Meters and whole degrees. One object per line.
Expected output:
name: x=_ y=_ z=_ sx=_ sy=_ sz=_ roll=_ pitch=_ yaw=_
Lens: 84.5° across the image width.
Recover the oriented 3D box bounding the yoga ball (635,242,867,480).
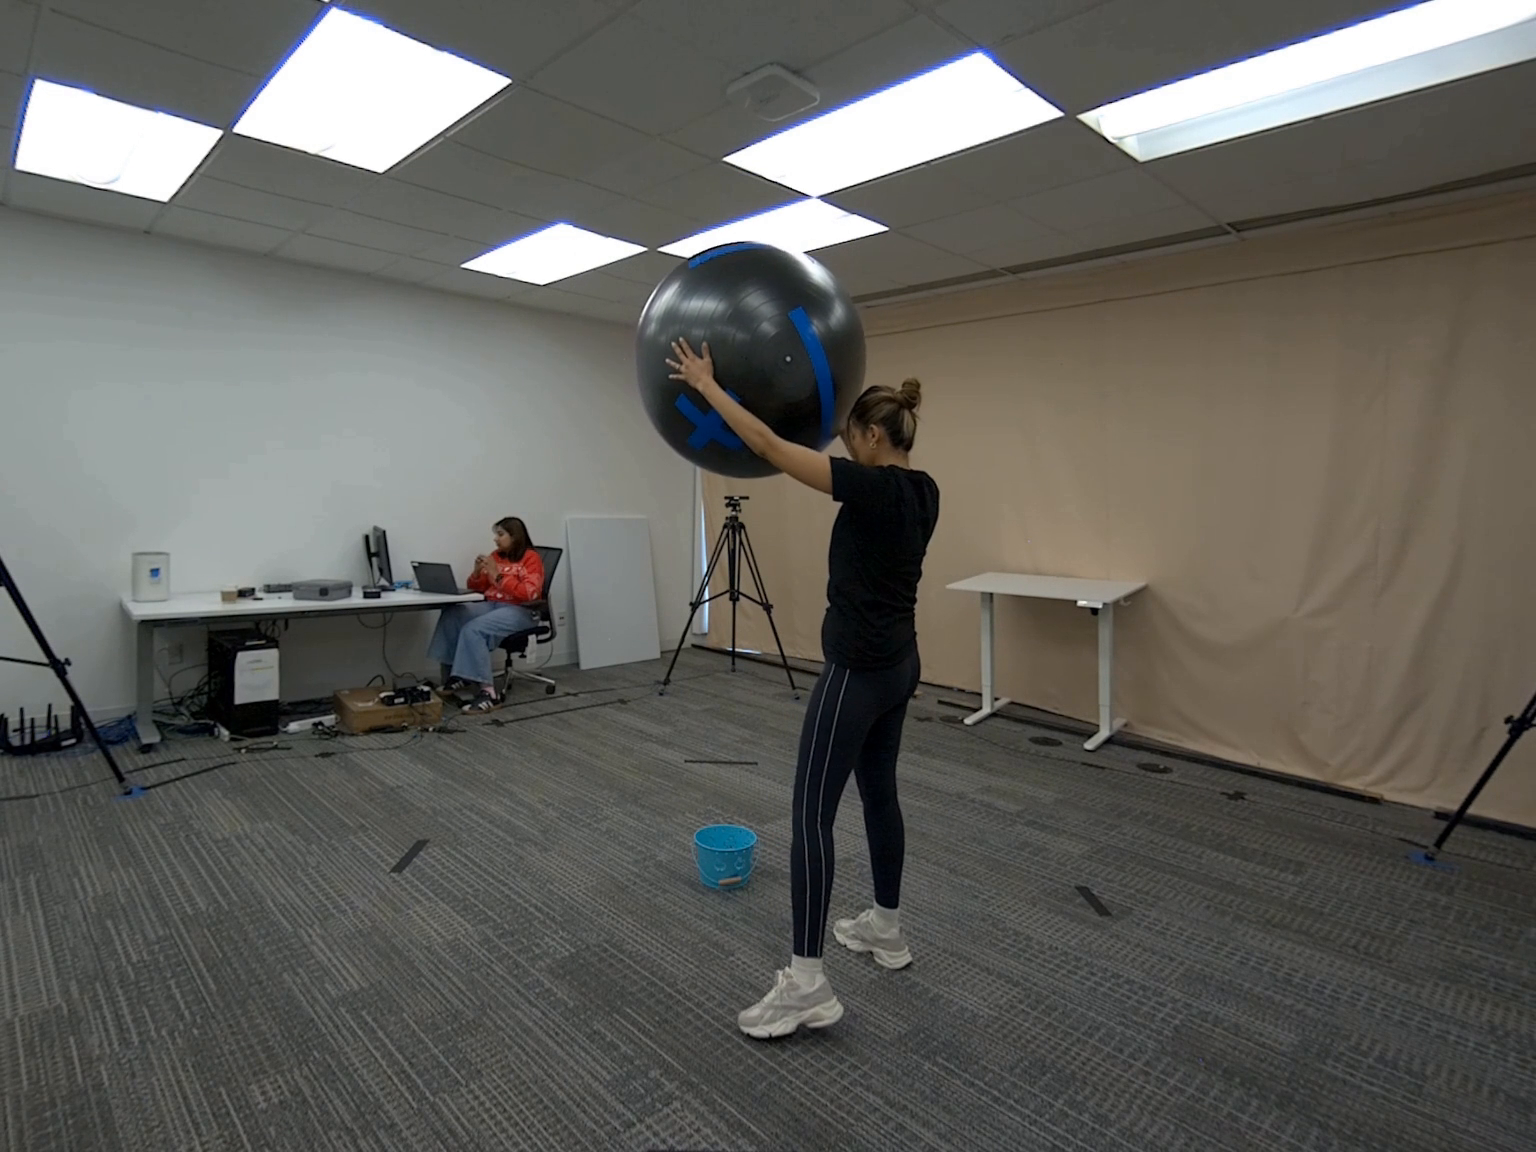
yoga ball: x=-0.068 y=-0.691 z=2.753 sx=0.757 sy=0.756 sz=0.761 roll=1 pitch=4 yaw=-1
